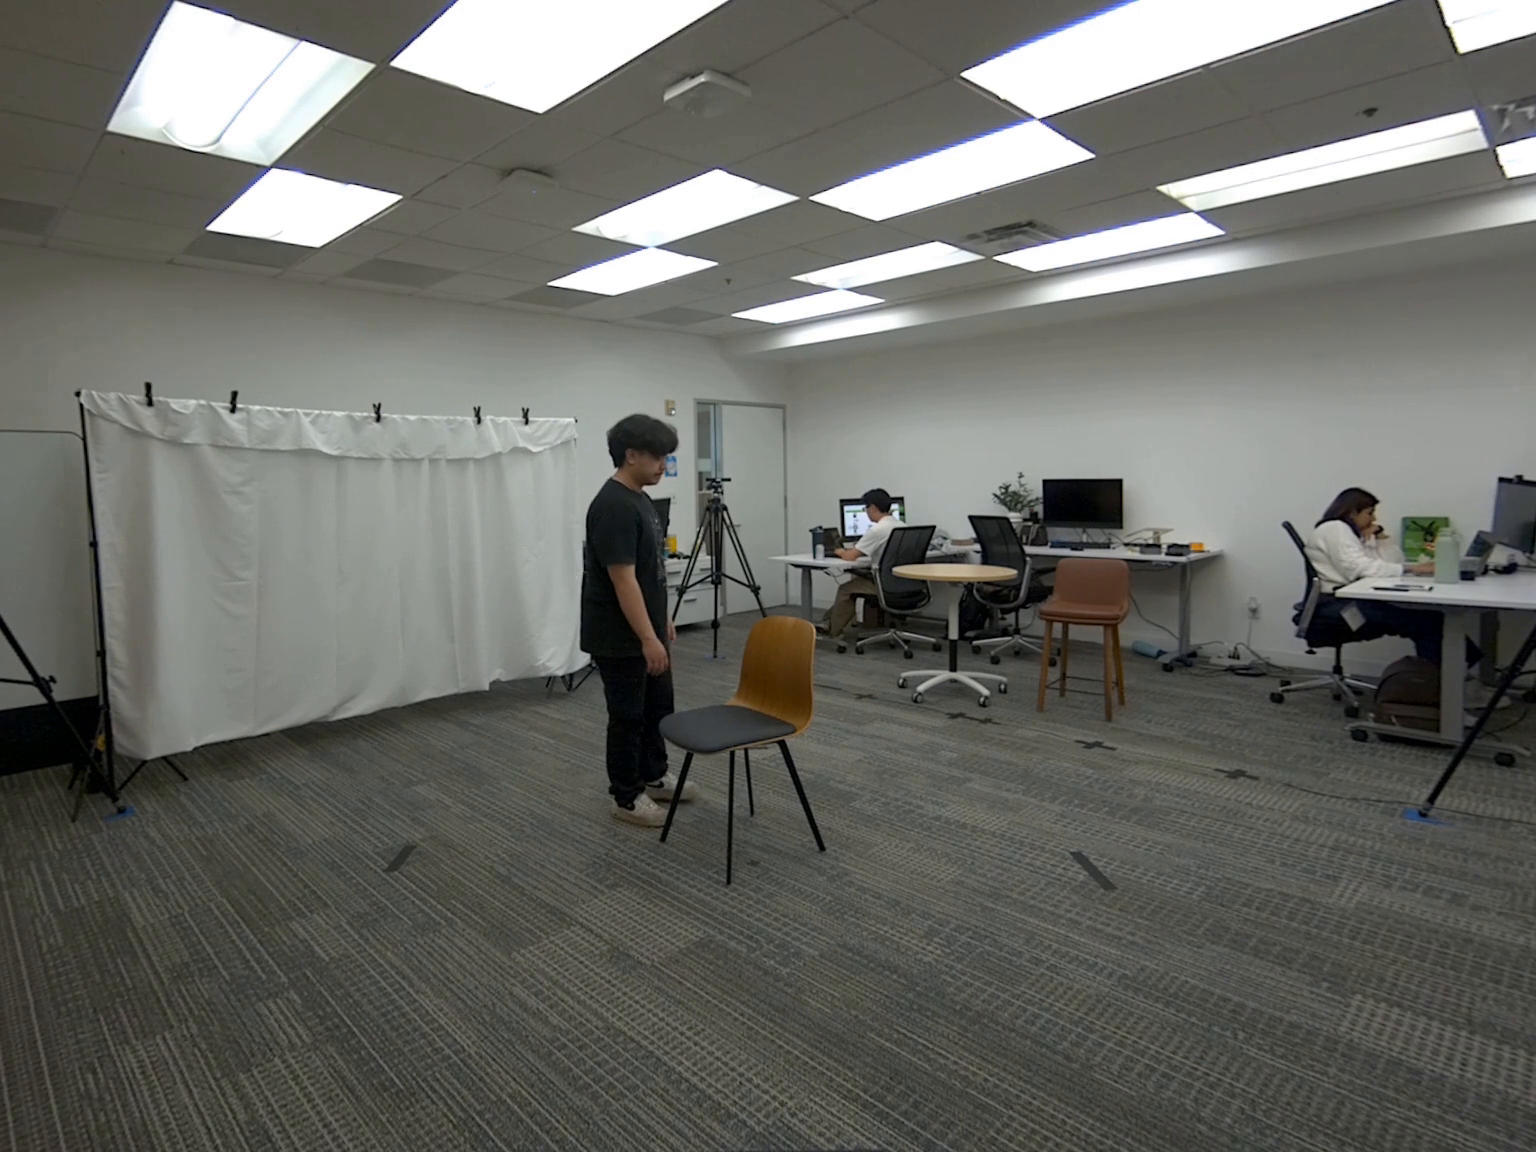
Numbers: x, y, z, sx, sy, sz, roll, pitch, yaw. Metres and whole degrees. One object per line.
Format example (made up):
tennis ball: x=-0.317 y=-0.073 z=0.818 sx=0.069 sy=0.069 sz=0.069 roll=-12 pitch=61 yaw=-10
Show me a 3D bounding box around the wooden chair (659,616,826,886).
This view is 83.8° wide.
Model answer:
wooden chair: x=-0.112 y=0.604 z=3.201 sx=0.508 sy=0.876 sz=0.492 roll=1 pitch=2 yaw=-38
